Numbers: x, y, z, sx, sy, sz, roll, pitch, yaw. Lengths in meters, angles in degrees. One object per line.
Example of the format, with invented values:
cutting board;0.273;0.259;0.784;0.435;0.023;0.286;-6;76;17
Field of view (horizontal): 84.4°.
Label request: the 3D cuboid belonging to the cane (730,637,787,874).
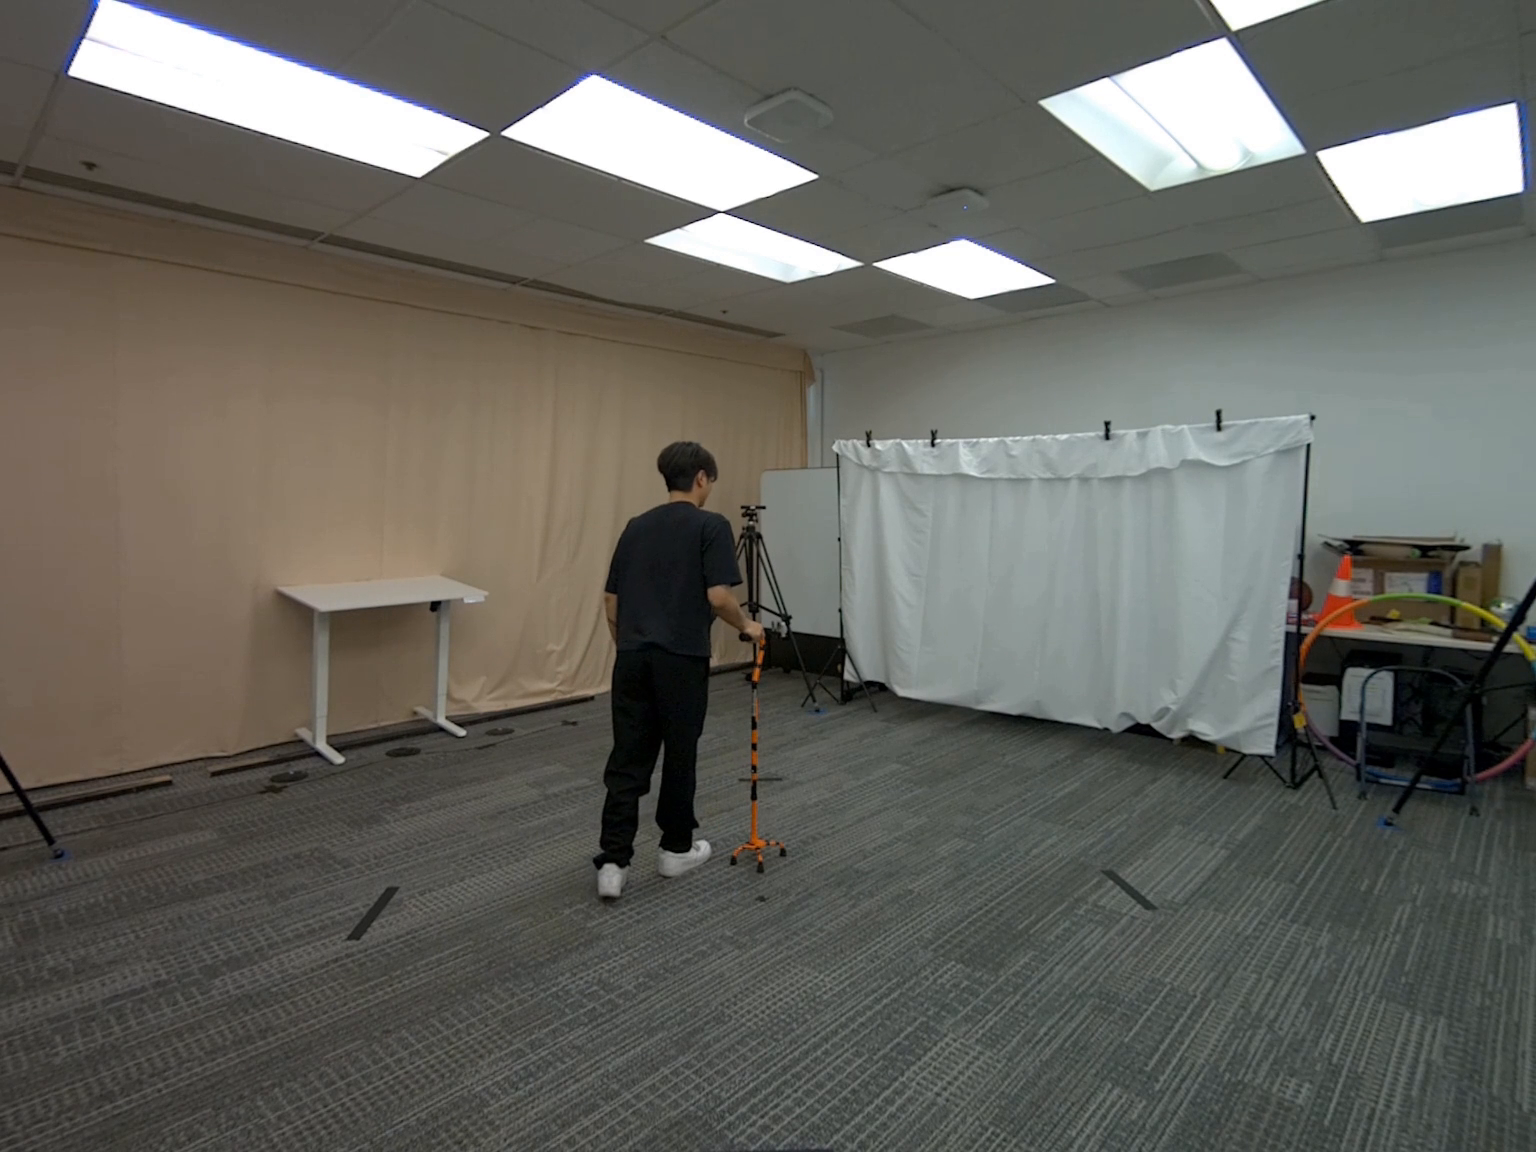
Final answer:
cane;-0.029;0.664;3.286;0.156;0.906;0.201;2;3;29
